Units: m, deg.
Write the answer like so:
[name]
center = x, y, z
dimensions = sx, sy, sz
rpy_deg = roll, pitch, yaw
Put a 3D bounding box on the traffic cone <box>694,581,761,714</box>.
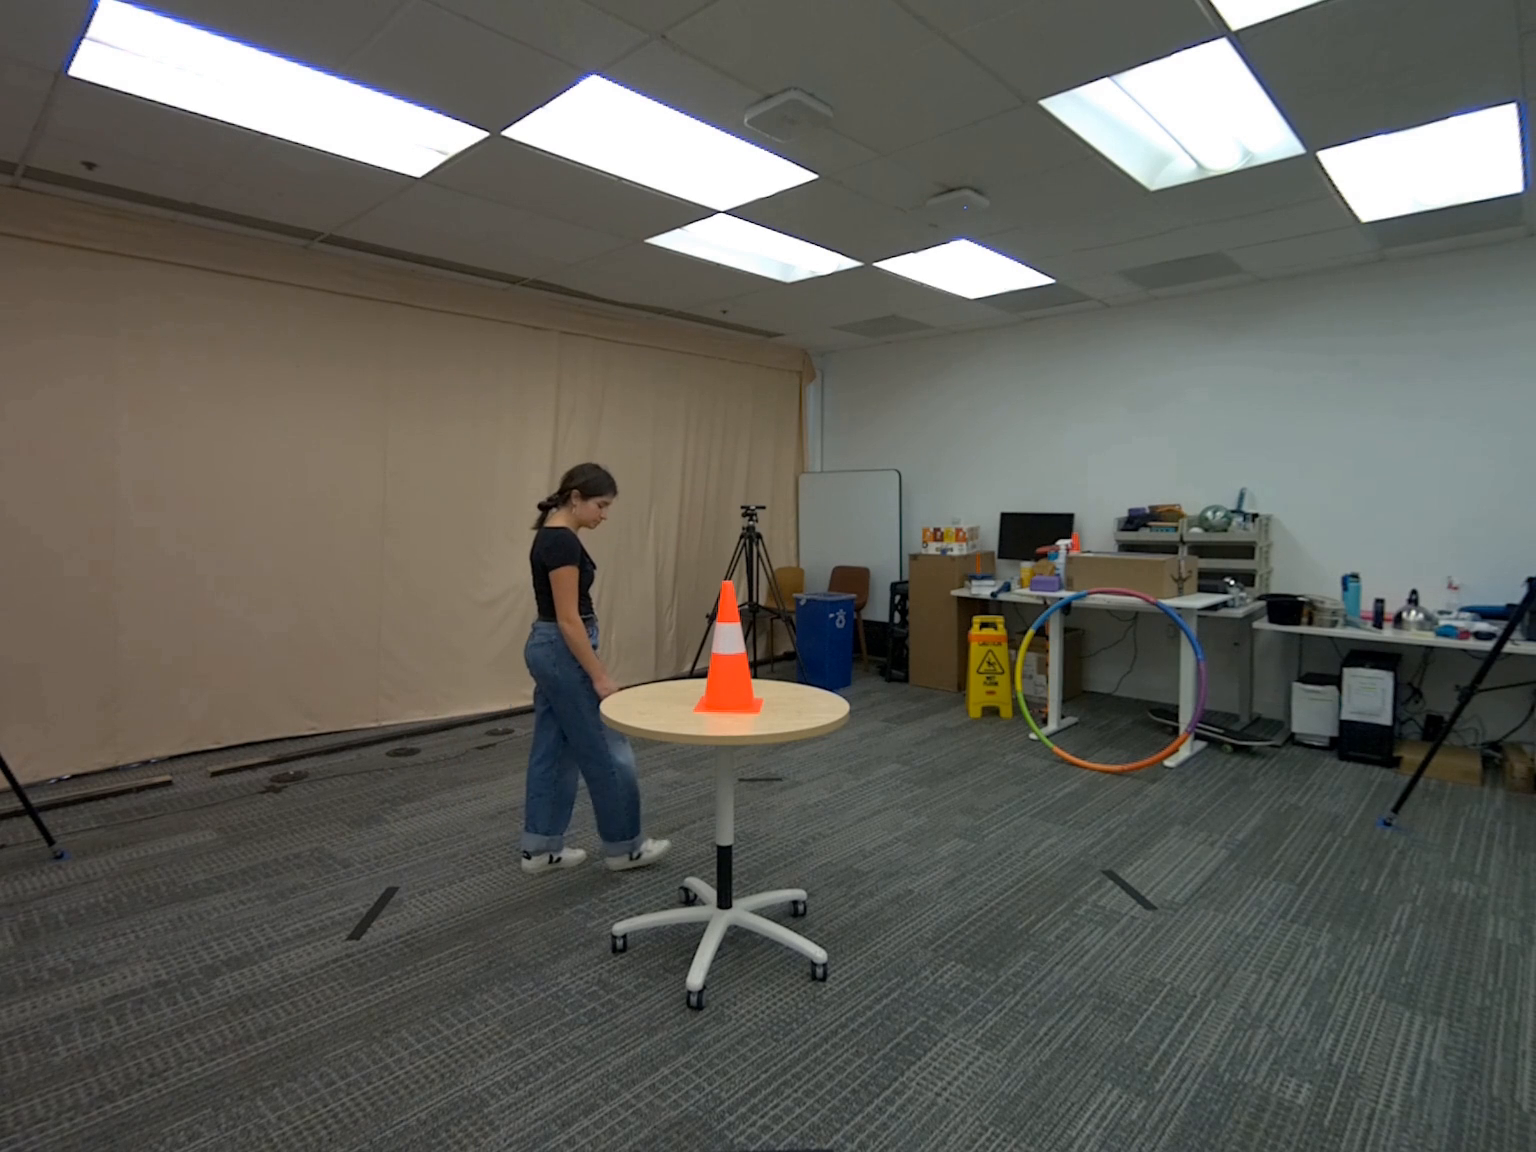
[traffic cone]
center = -0.116, 0.212, 2.562
dimensions = 0.206, 0.383, 0.203
rpy_deg = -1, 3, 3
